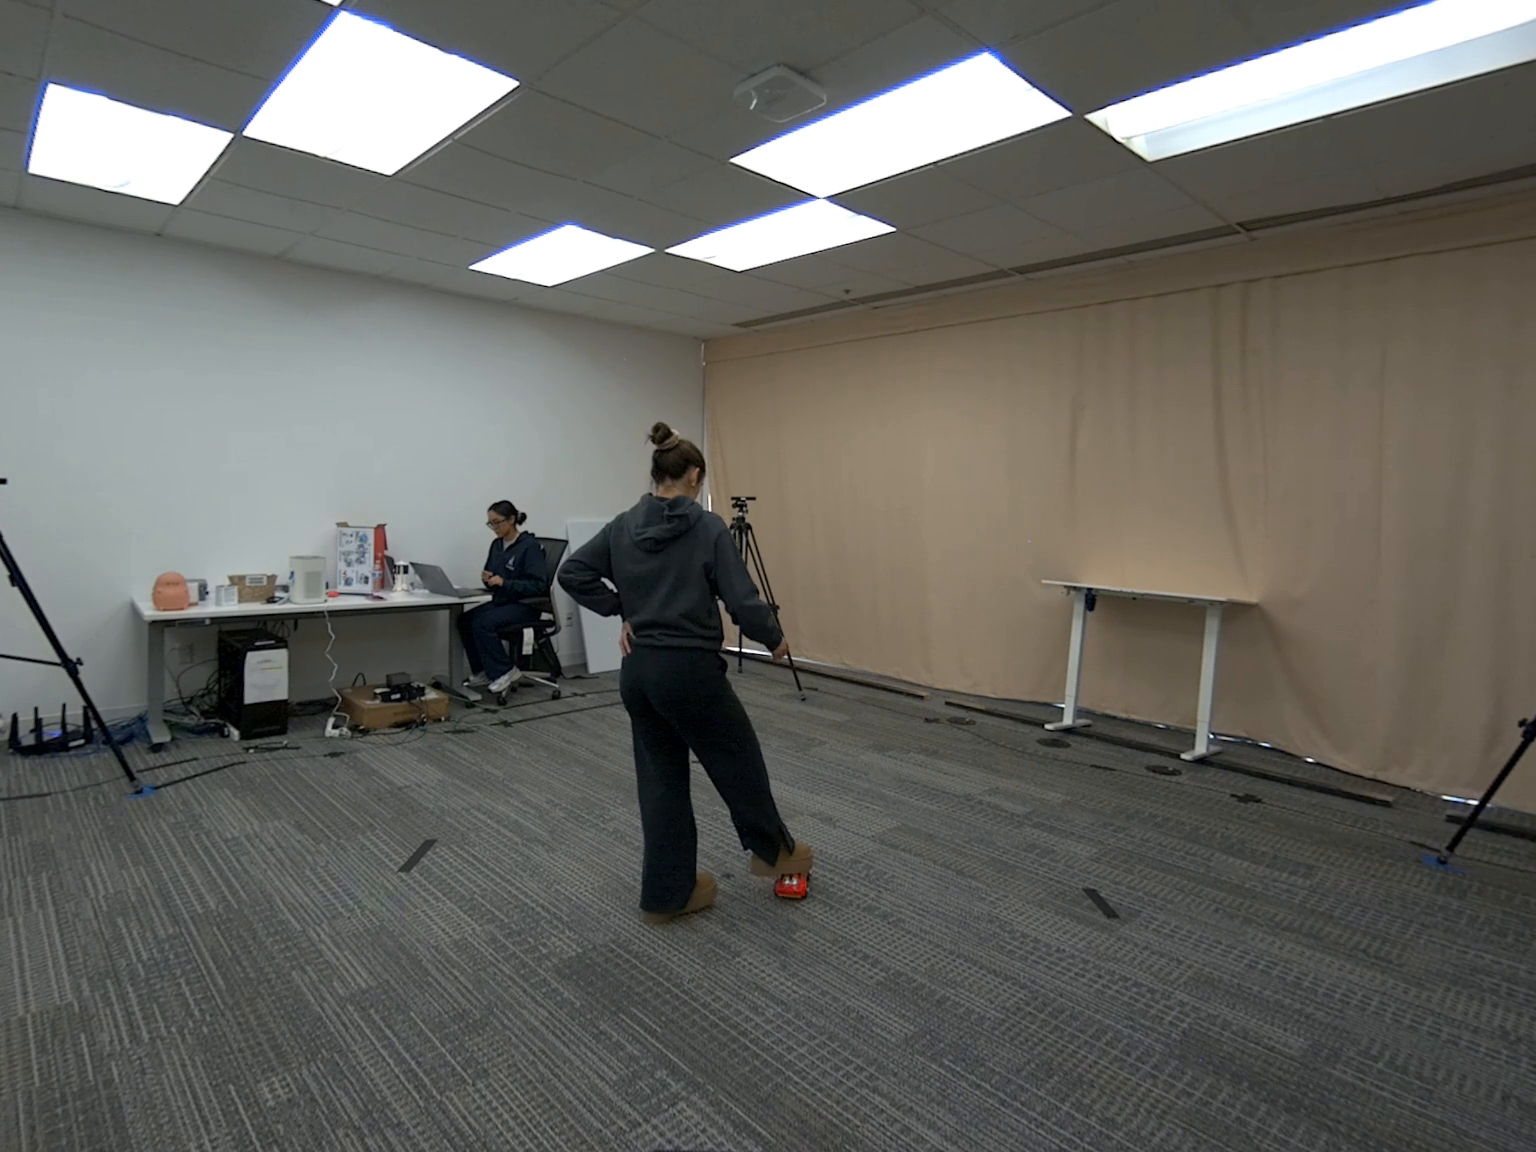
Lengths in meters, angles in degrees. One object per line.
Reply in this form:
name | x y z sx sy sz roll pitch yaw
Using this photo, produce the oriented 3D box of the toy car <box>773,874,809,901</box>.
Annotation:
toy car | 0.078 1.091 3.014 0.131 0.083 0.252 1 -5 6
